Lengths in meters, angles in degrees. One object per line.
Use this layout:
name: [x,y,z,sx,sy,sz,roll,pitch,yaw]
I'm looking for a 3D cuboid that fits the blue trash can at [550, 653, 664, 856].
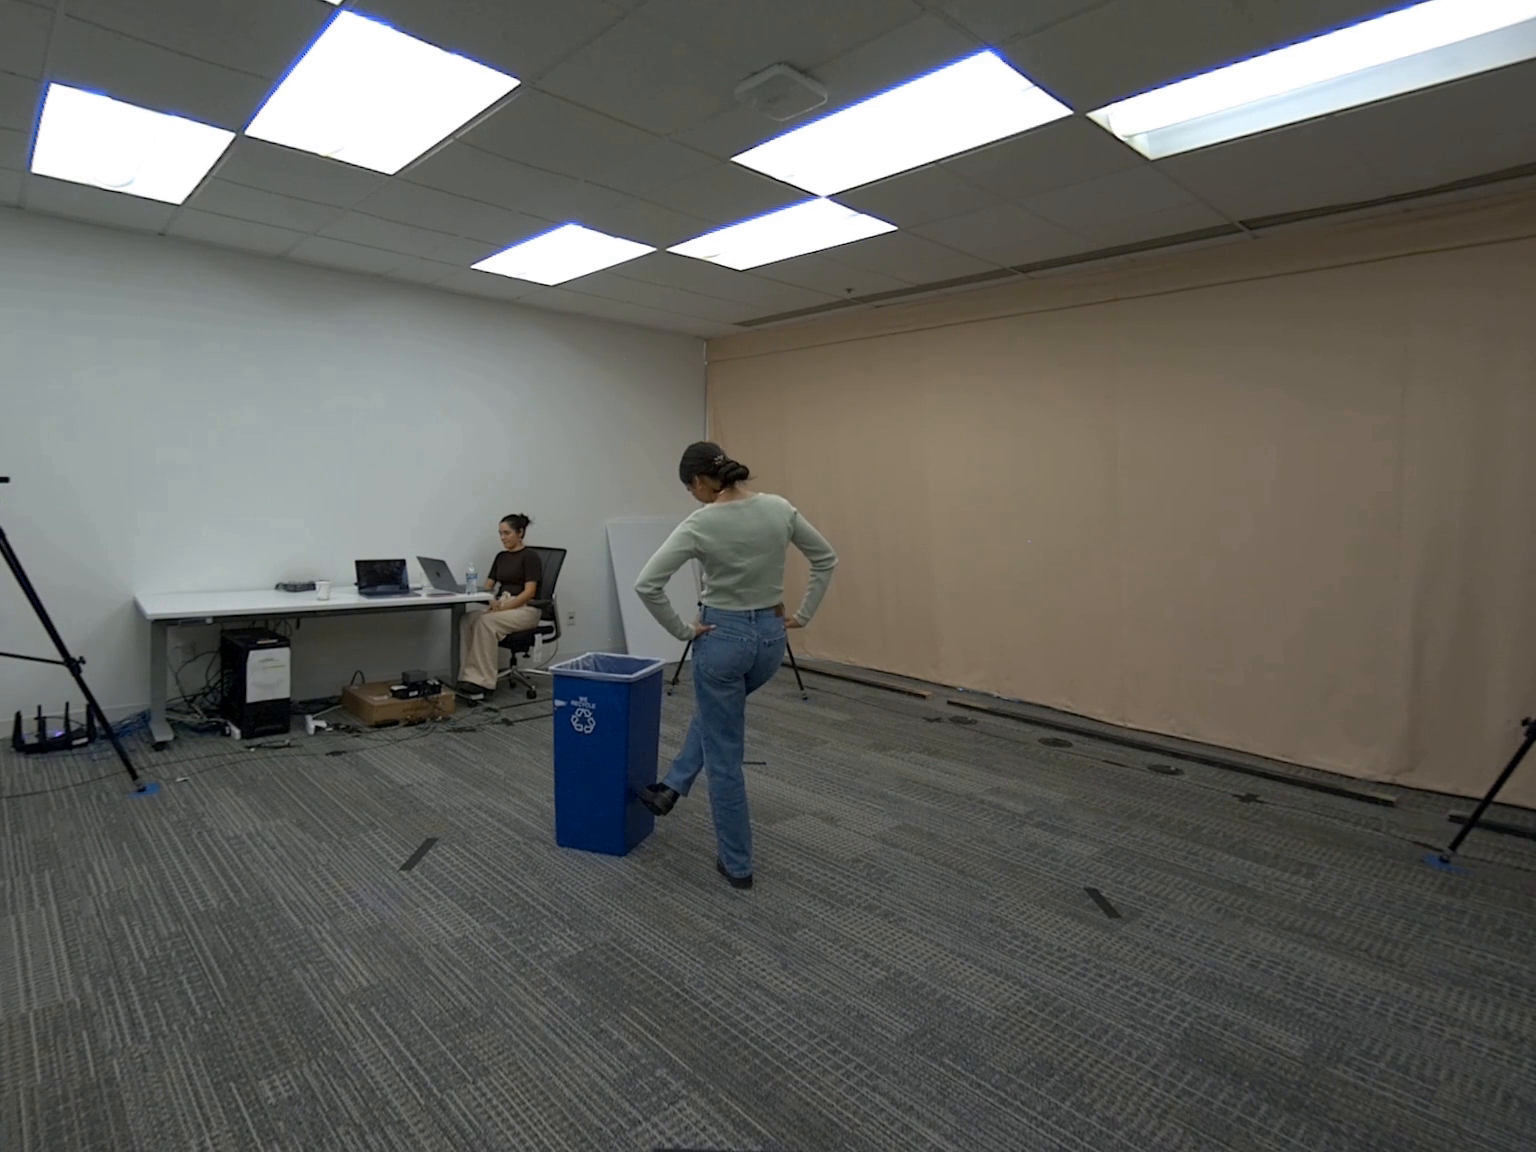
blue trash can: [-0.657,0.713,3.397,0.383,0.712,0.370,1,3,16]
